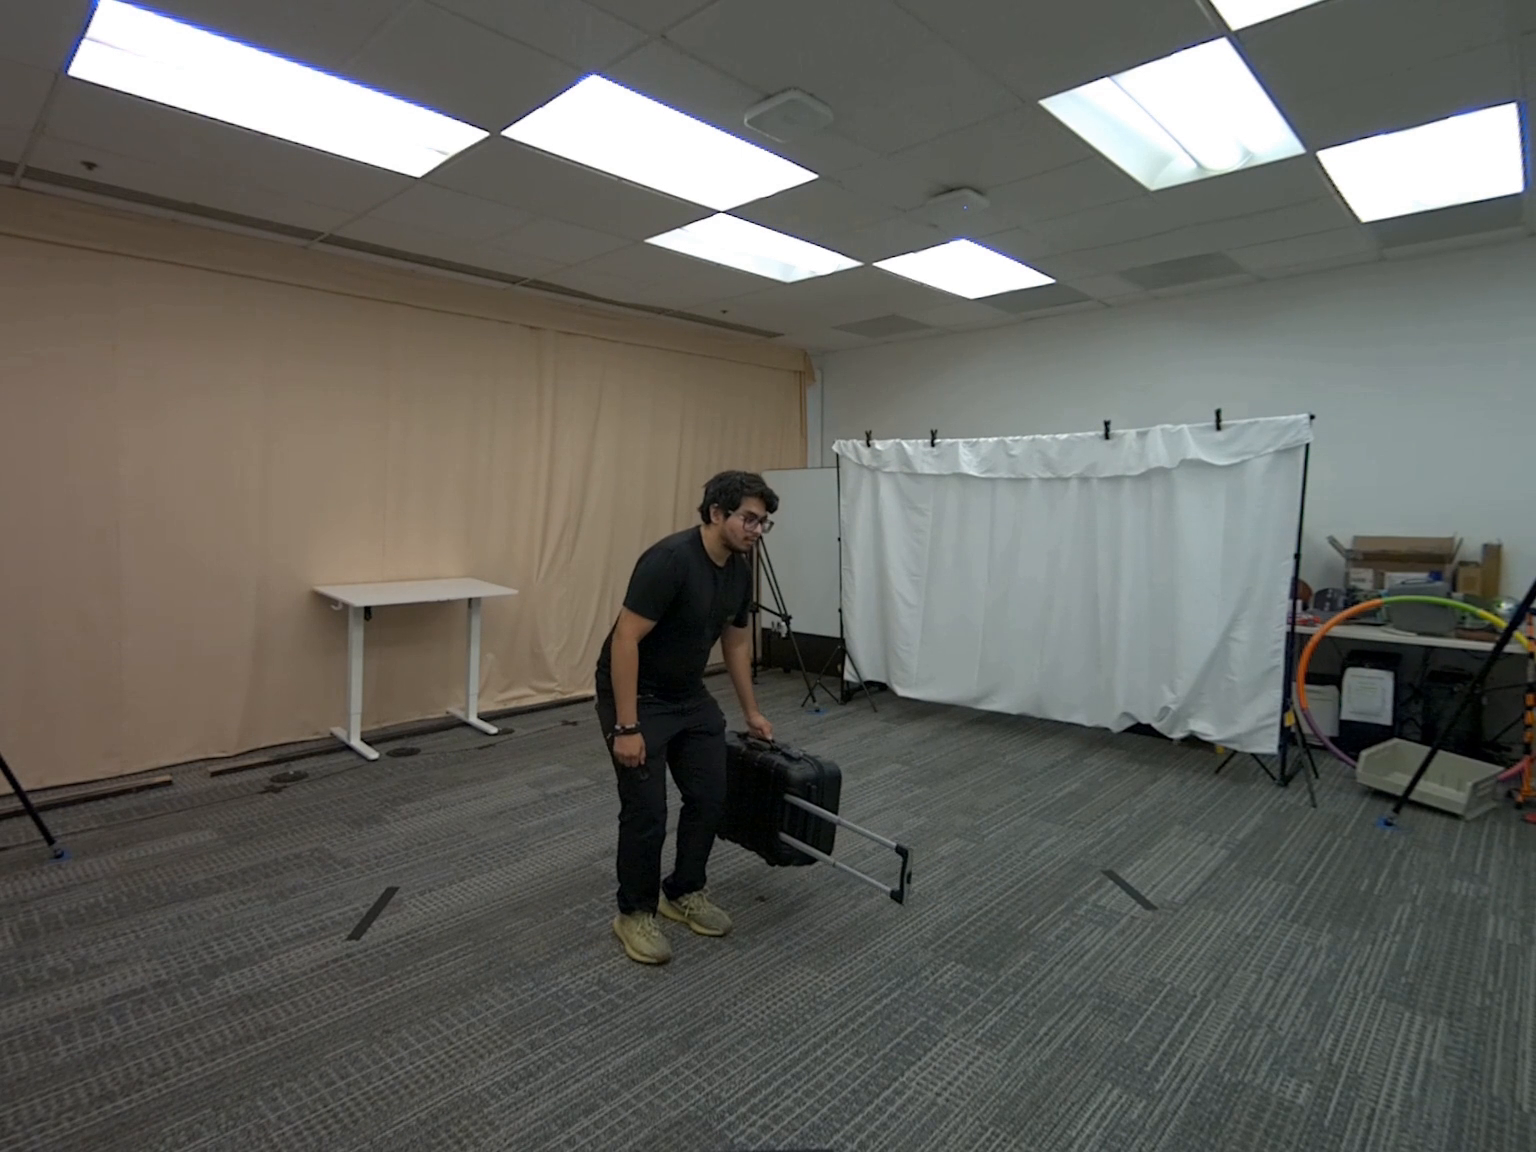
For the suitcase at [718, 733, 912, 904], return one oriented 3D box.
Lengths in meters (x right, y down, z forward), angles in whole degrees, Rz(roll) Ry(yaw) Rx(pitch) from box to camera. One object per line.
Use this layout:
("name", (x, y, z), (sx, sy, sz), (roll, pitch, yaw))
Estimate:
("suitcase", (0.135, 0.789, 2.802), (0.248, 0.384, 1.012), (6, 1, -42))
